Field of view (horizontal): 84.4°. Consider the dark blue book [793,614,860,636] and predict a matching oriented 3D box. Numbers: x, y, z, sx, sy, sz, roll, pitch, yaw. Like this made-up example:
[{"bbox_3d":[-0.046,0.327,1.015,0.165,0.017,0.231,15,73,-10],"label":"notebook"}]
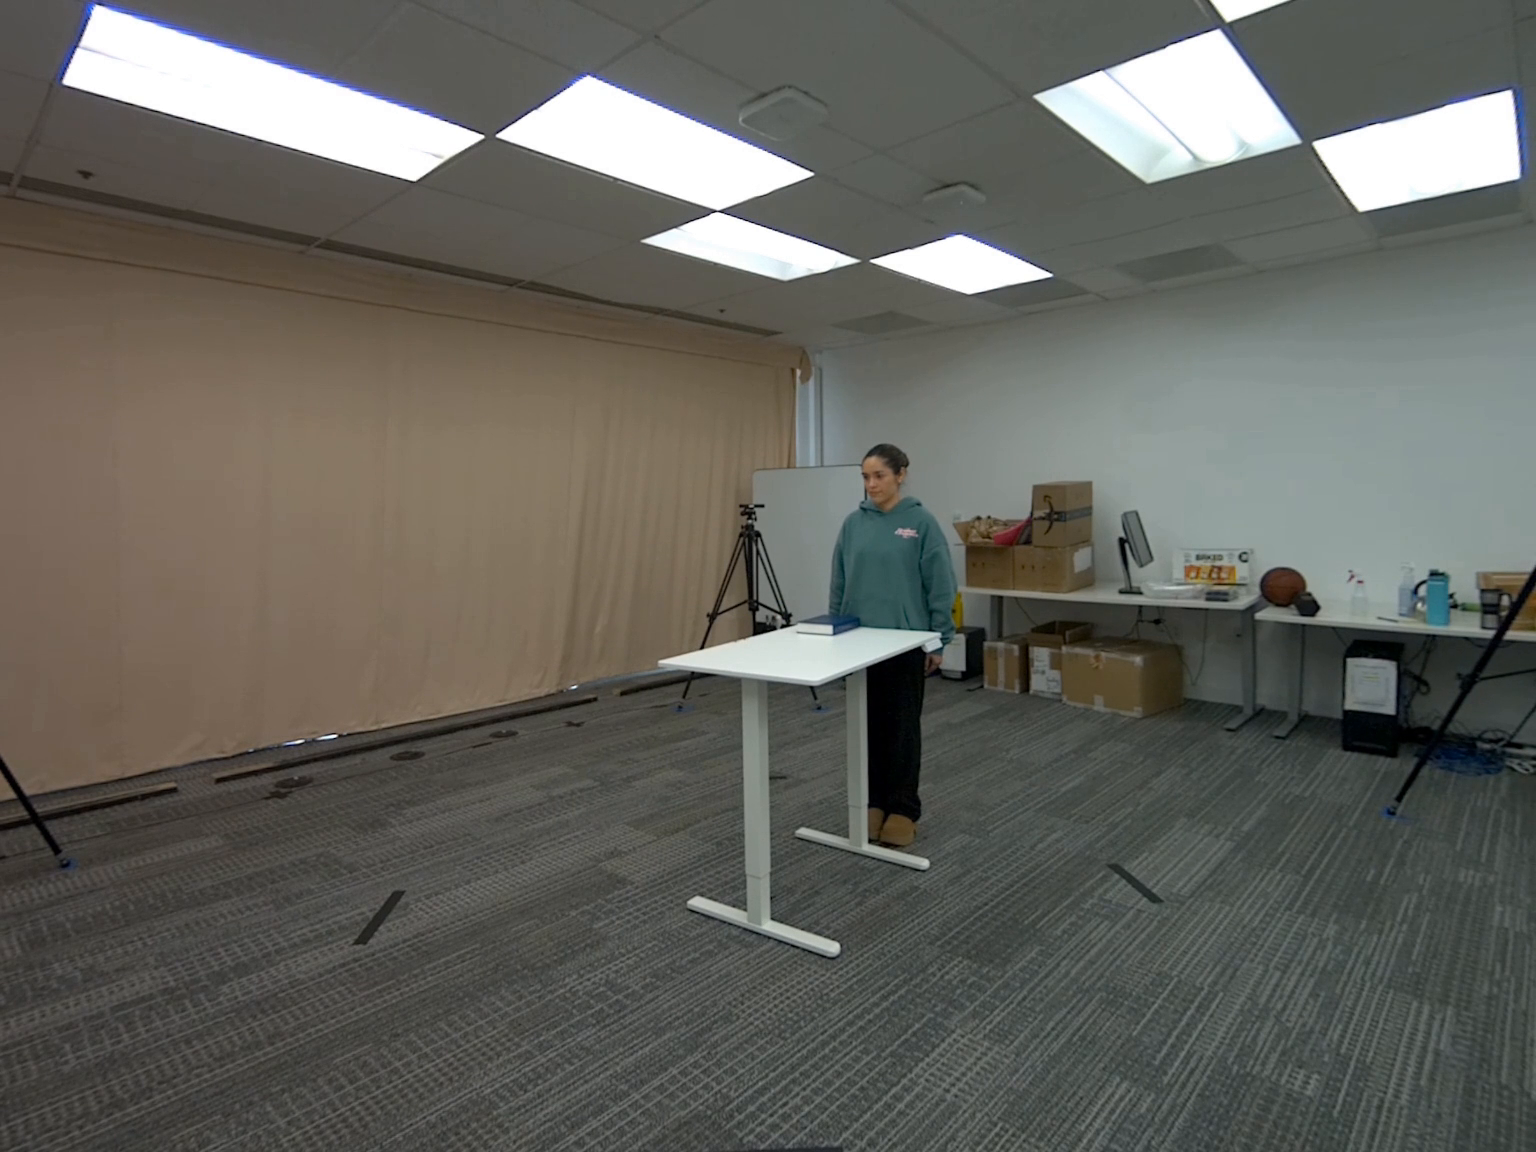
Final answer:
[{"bbox_3d":[0.246,0.198,3.381,0.168,0.045,0.239,2,6,30],"label":"dark blue book"}]
